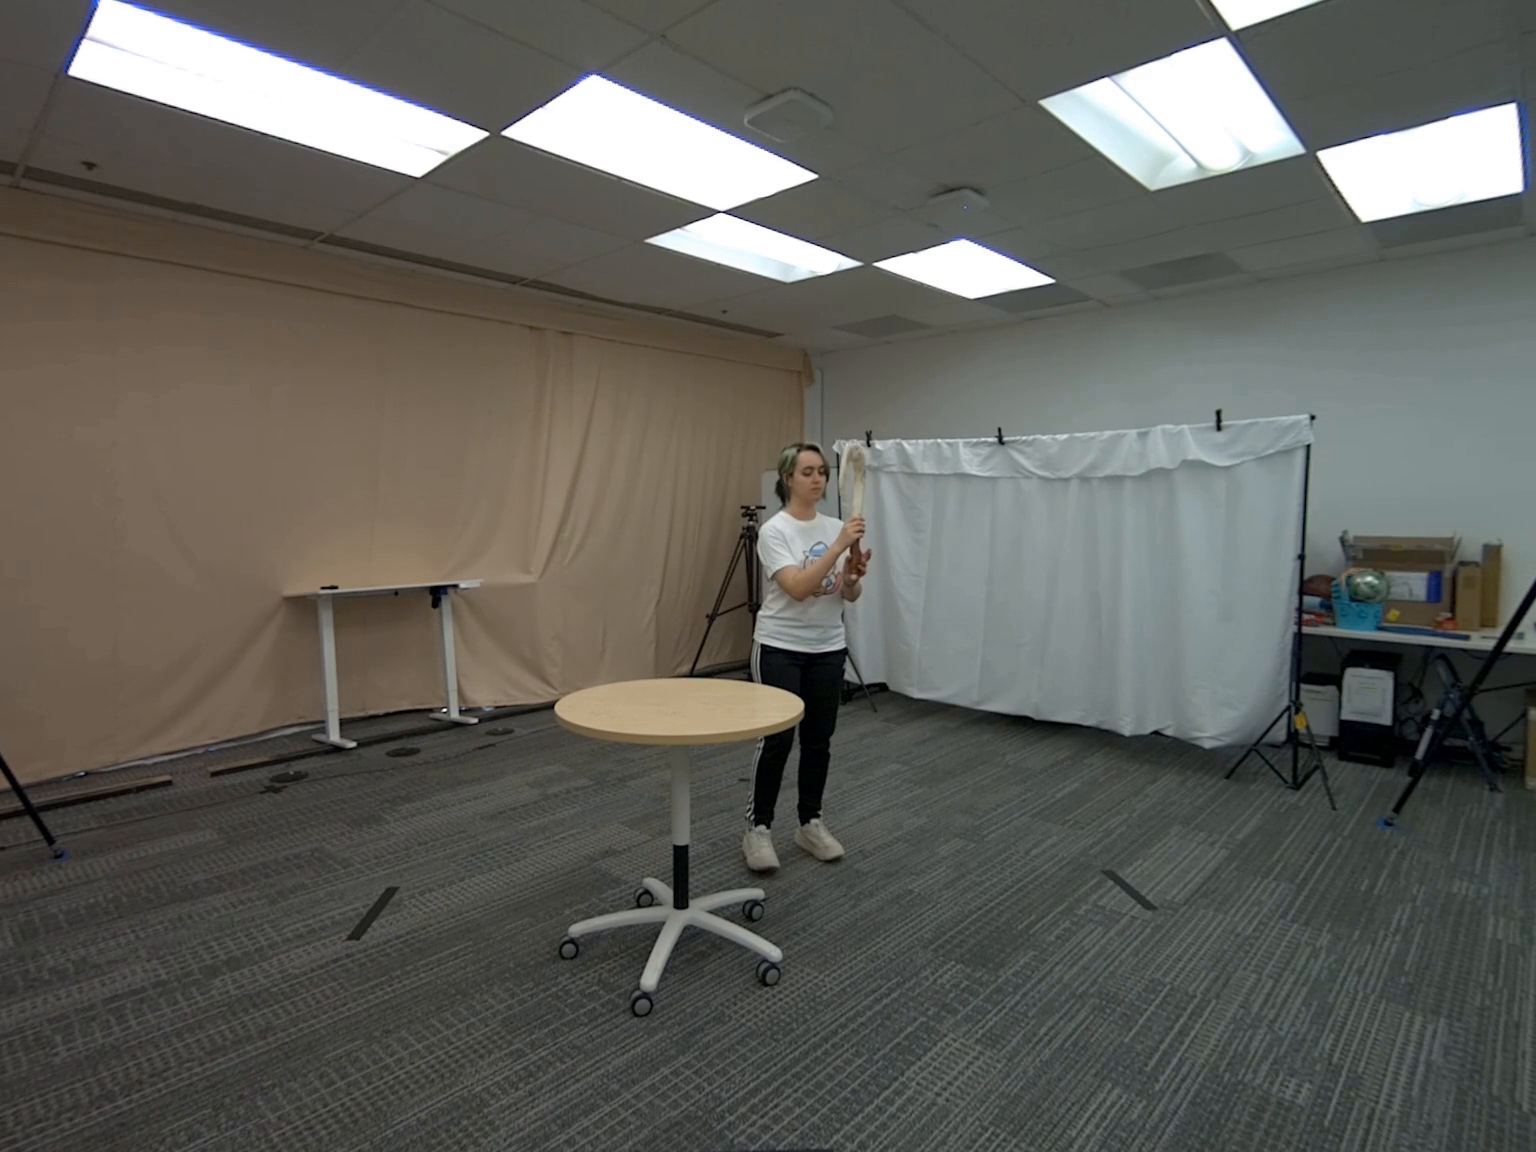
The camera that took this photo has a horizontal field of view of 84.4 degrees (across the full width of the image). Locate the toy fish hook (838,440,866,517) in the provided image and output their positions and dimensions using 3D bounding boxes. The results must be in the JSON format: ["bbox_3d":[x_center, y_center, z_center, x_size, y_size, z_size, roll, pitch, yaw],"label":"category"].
[{"bbox_3d":[0.290,-0.225,3.055,0.050,0.504,0.219,1,7,32],"label":"toy fish hook"}]
